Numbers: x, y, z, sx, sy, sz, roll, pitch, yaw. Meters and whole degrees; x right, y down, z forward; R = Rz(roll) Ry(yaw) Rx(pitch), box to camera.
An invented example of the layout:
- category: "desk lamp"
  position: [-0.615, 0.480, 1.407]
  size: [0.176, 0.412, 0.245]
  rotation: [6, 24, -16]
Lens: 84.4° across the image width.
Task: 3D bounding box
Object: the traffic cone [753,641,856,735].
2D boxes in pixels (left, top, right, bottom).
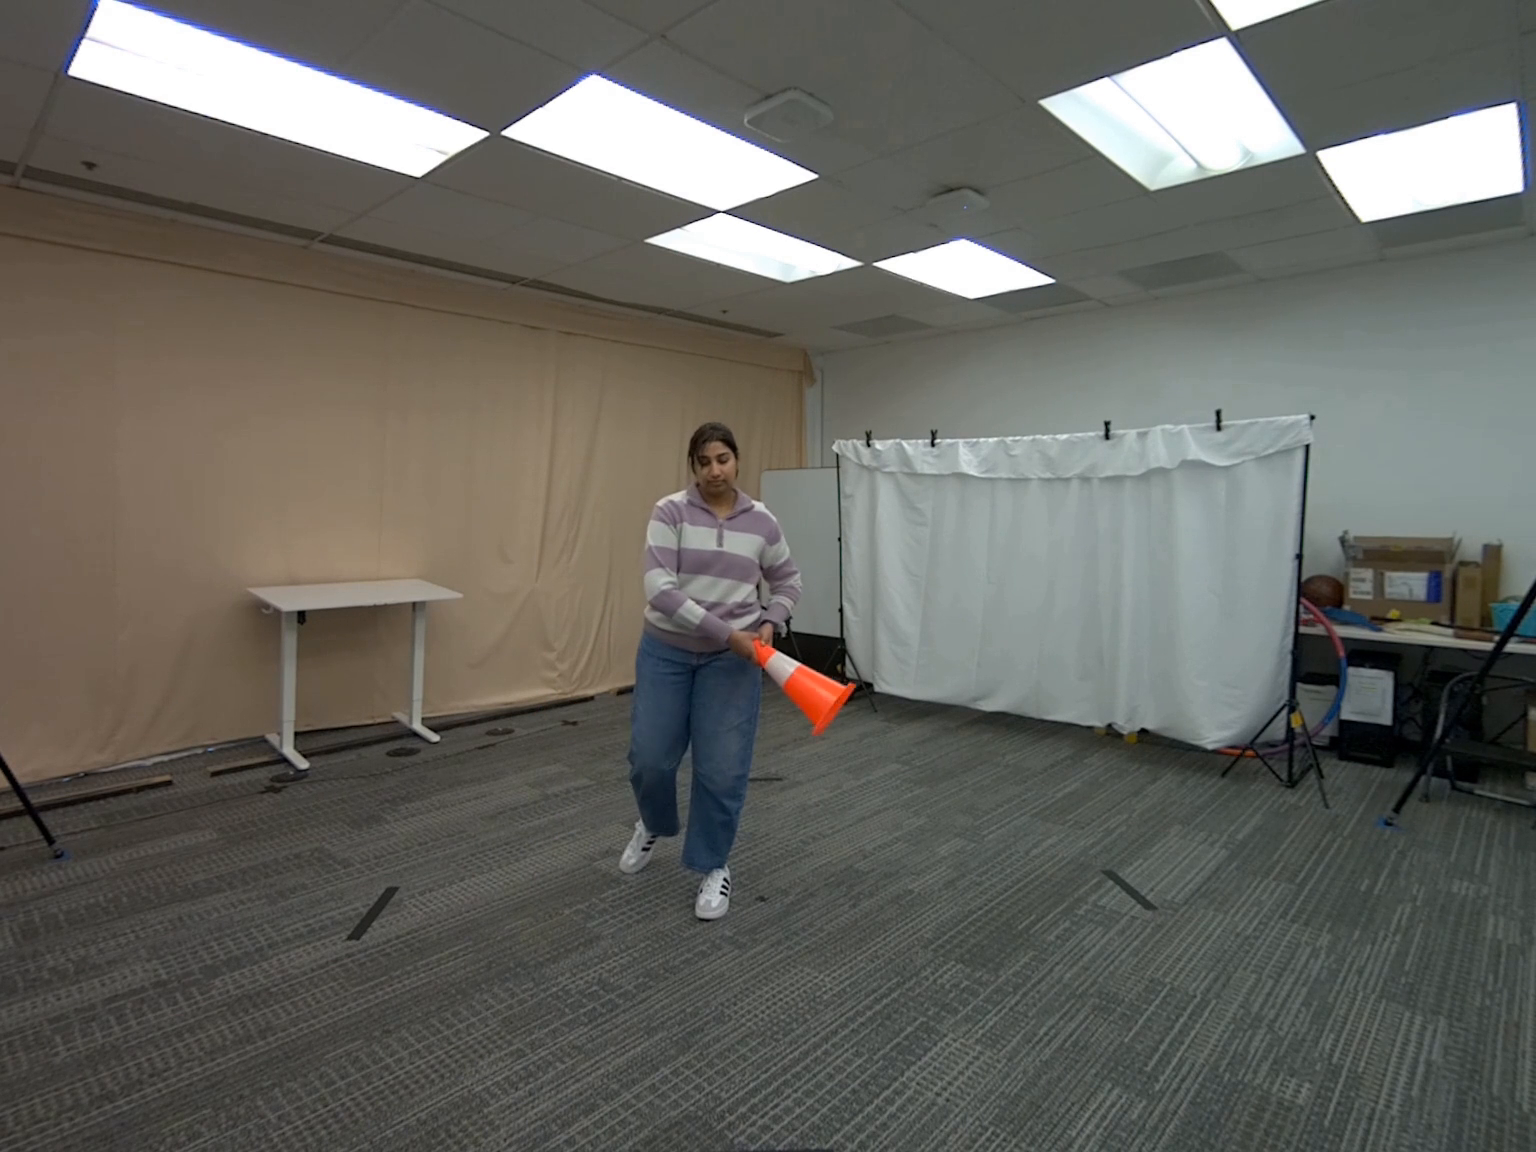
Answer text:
- category: "traffic cone"
  position: [0.061, 0.312, 2.715]
  size: [0.393, 0.203, 0.200]
  rotation: [37, 2, 20]
